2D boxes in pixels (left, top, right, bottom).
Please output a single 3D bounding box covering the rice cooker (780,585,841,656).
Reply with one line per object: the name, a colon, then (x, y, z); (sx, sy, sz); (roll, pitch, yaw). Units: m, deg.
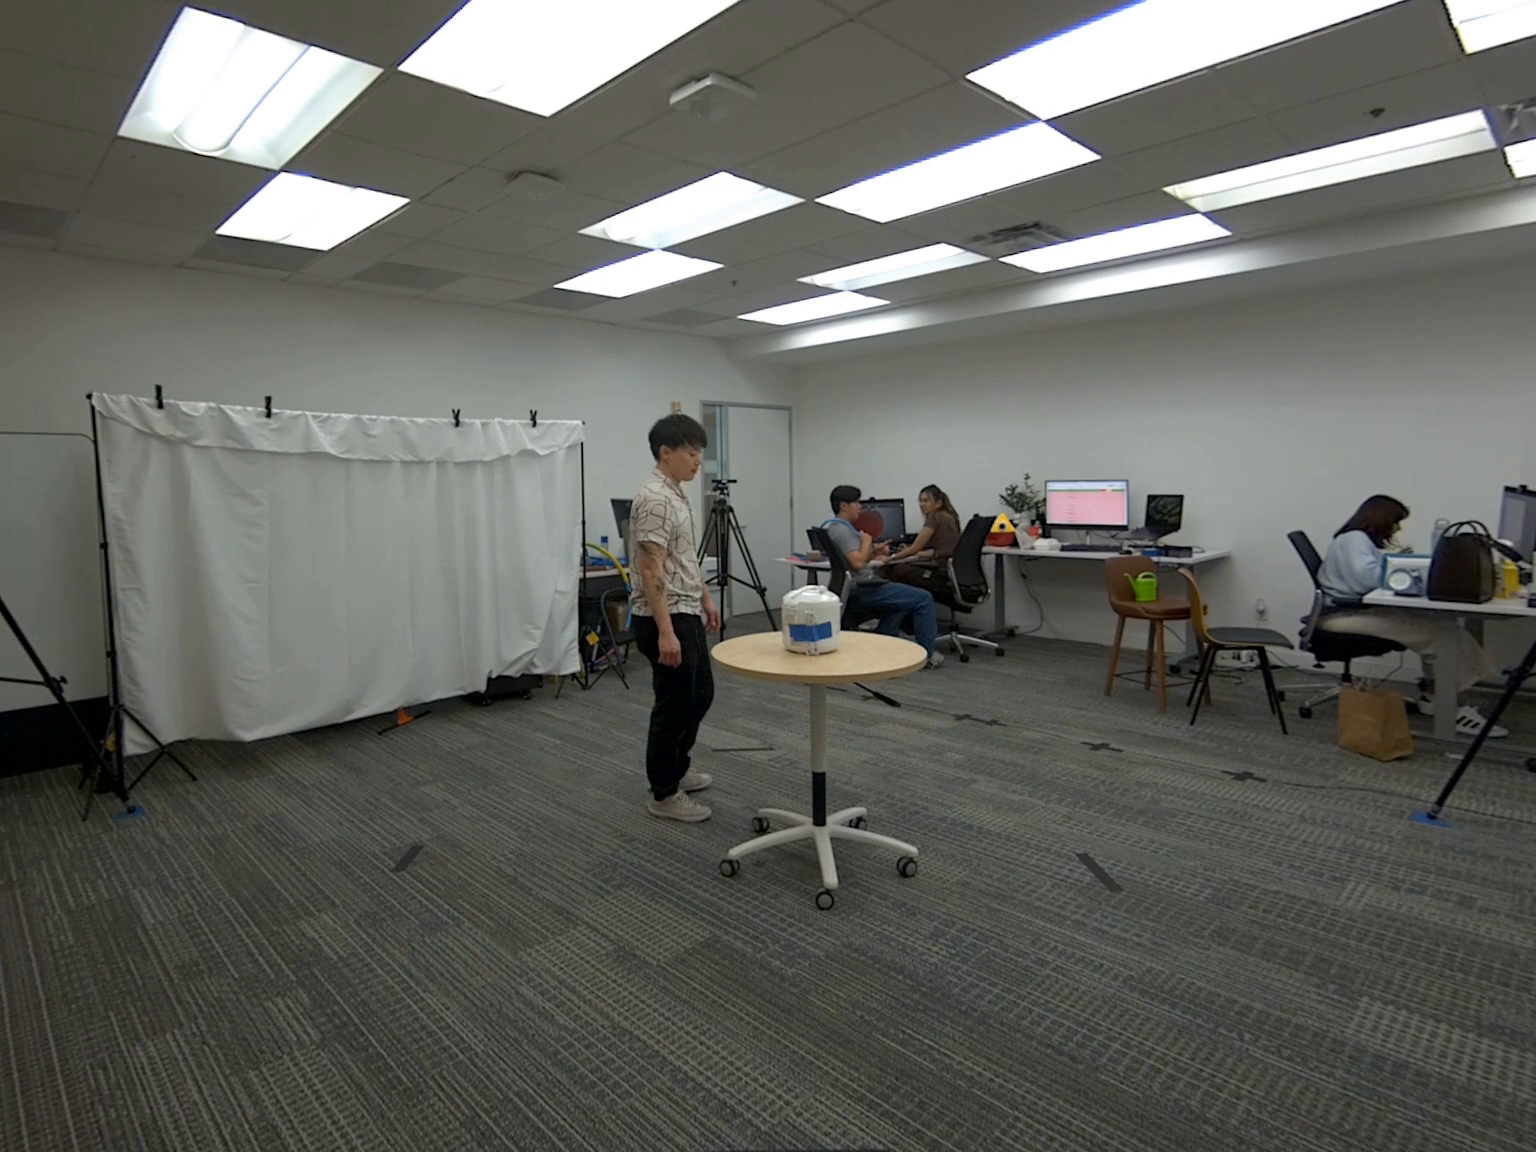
rice cooker: (0.154, 0.149, 3.066); (0.215, 0.231, 0.224); (-7, 9, -40)
